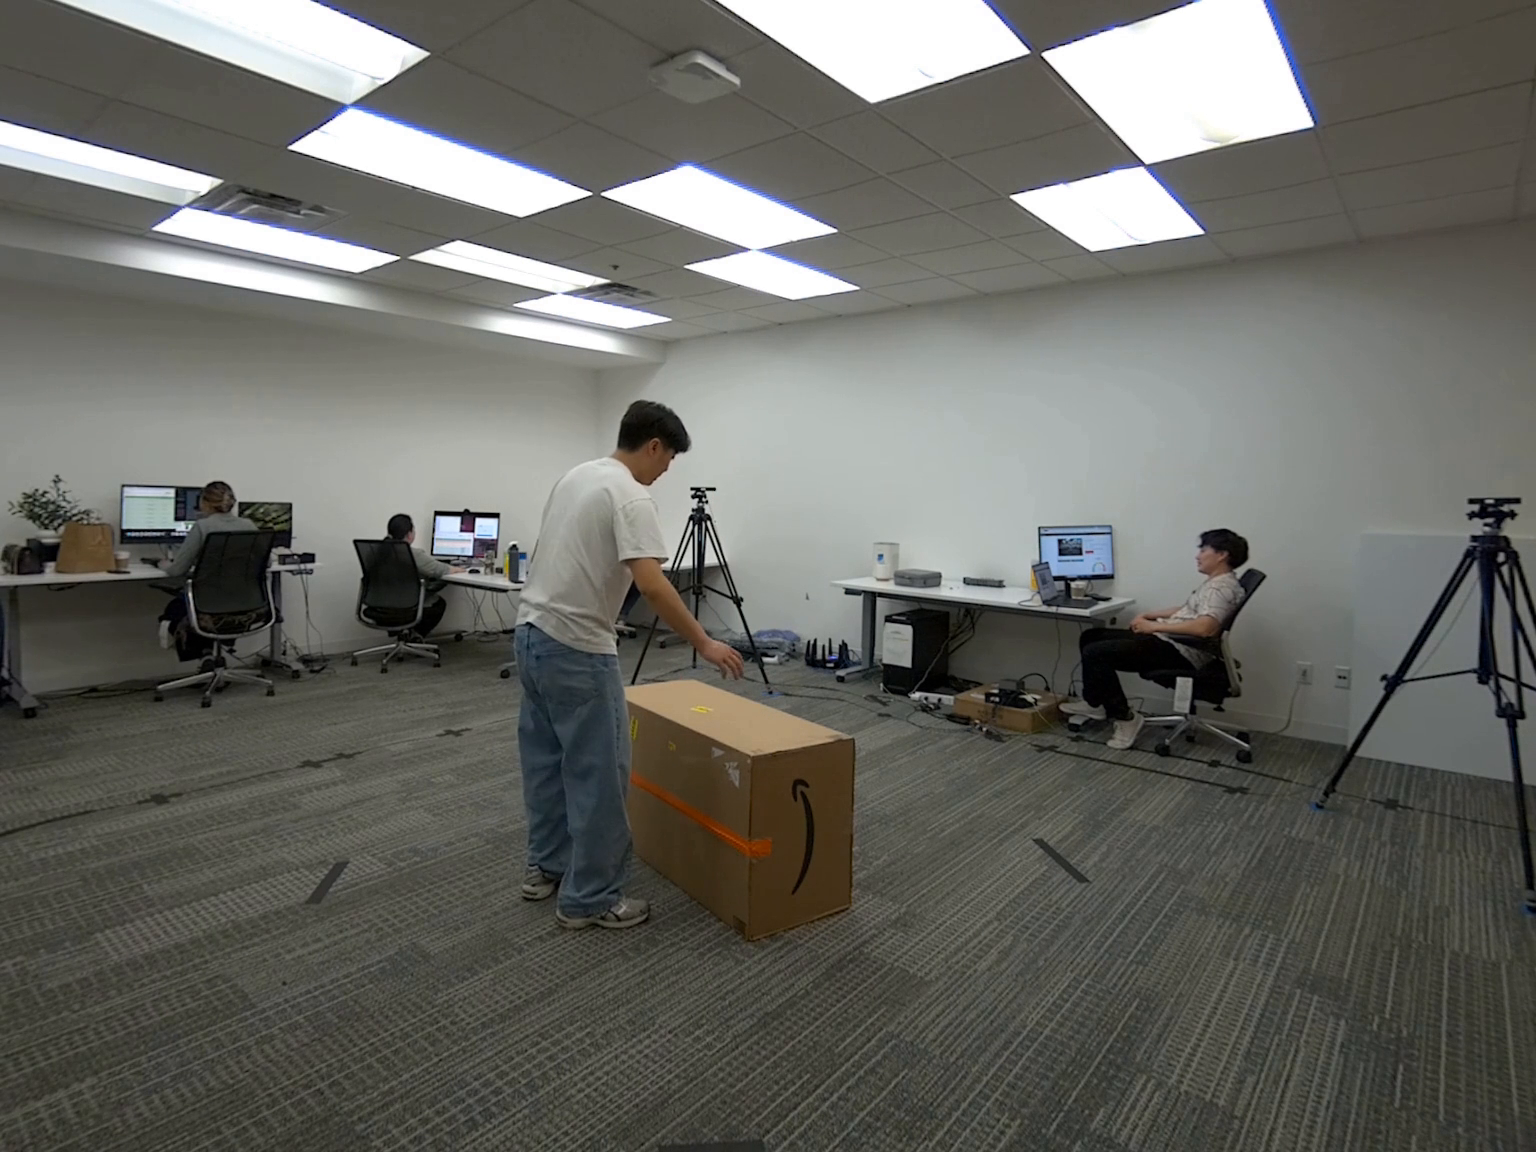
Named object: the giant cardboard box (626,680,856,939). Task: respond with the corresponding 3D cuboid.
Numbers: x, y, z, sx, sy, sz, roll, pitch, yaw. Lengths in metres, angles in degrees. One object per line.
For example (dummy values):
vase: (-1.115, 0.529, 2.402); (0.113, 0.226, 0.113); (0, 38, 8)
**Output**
giant cardboard box: (-0.199, 0.777, 3.123); (0.414, 0.576, 1.059); (-1, 5, -35)
